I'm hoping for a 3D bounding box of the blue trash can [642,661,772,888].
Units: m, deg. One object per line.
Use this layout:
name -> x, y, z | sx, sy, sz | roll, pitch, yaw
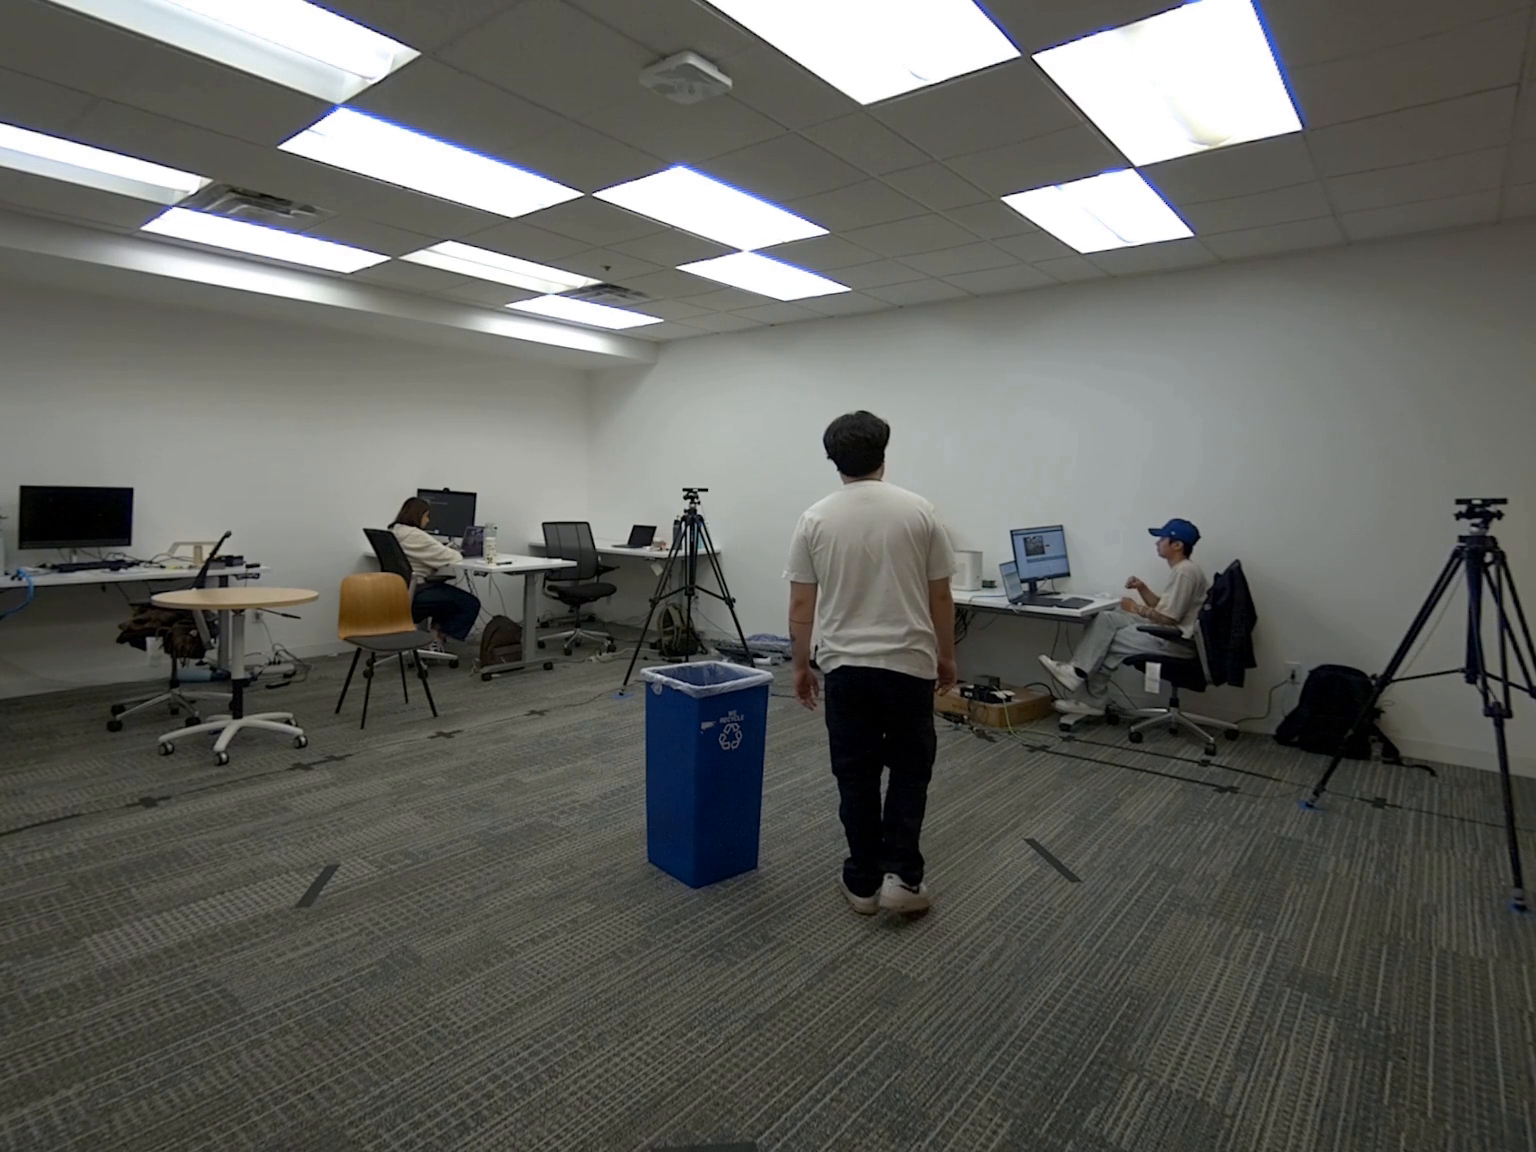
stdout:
blue trash can -> -0.242, 0.707, 3.146 | 0.363, 0.711, 0.391 | -2, 4, -41
